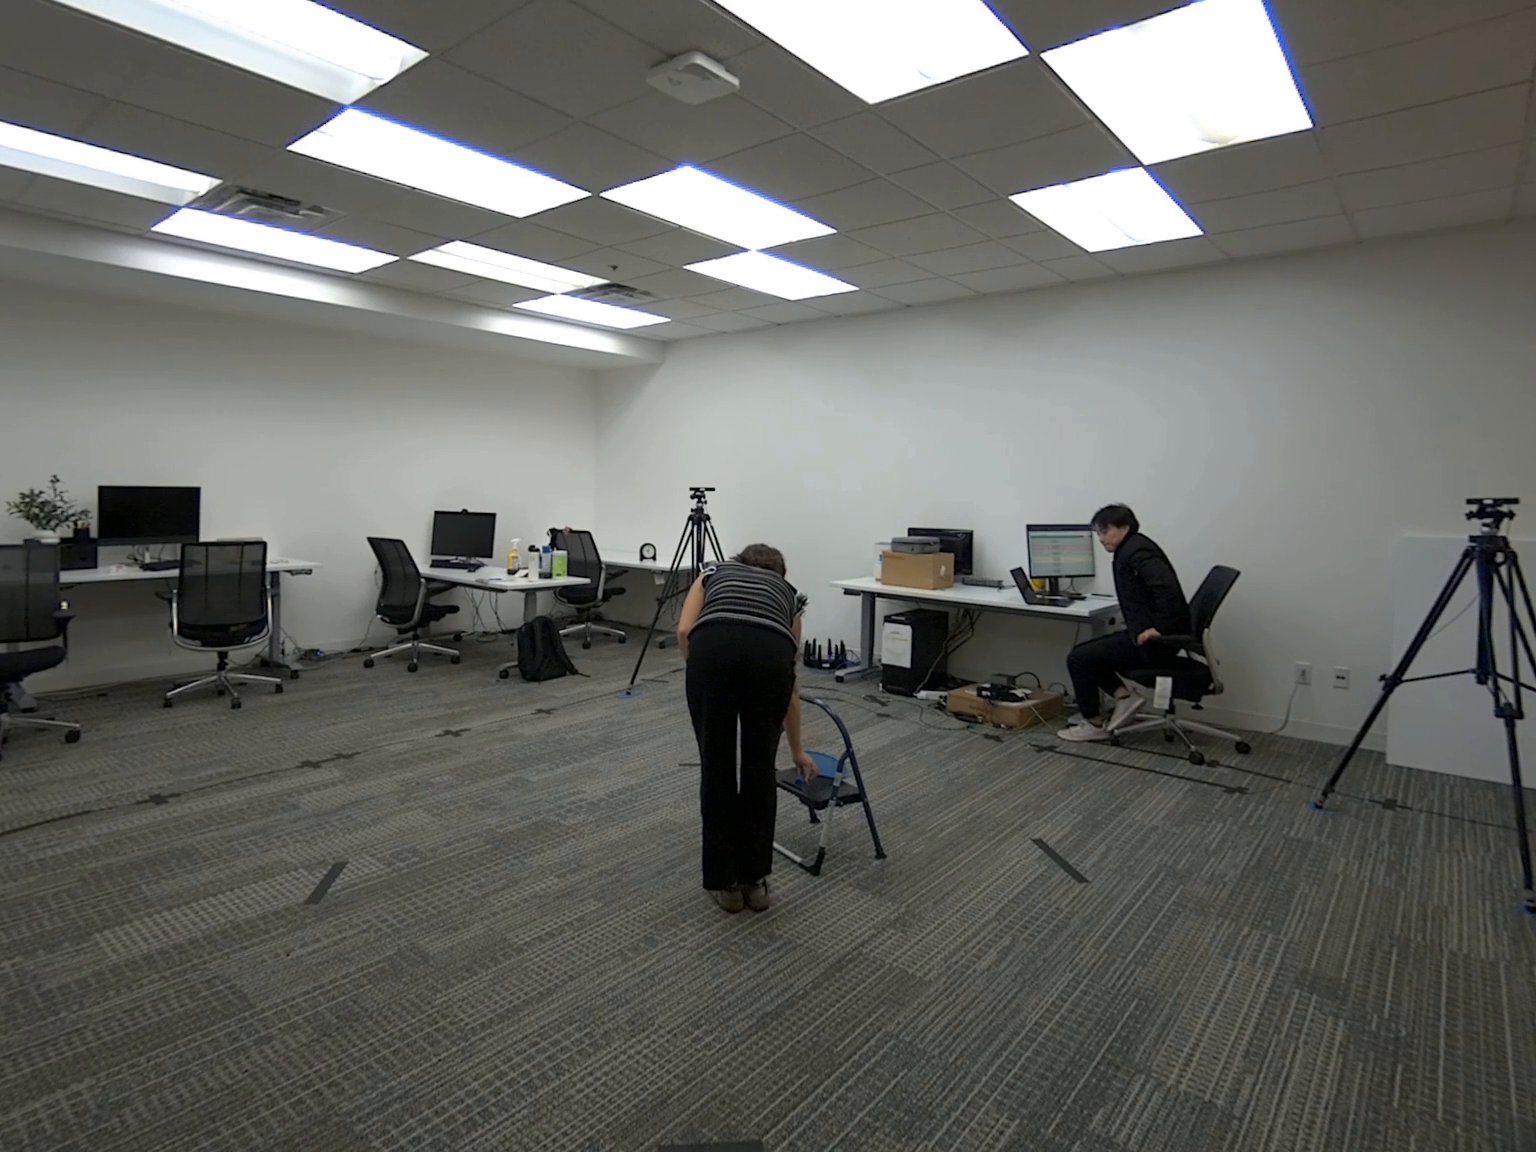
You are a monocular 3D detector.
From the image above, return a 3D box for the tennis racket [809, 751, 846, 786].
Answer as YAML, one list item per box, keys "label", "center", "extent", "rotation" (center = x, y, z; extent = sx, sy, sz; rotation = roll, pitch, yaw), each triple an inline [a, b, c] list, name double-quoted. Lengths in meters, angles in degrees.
- label: "tennis racket"
  center: [0.159, 0.751, 3.286]
  extent: [0.220, 0.031, 0.422]
  rotation: [19, 7, 22]
